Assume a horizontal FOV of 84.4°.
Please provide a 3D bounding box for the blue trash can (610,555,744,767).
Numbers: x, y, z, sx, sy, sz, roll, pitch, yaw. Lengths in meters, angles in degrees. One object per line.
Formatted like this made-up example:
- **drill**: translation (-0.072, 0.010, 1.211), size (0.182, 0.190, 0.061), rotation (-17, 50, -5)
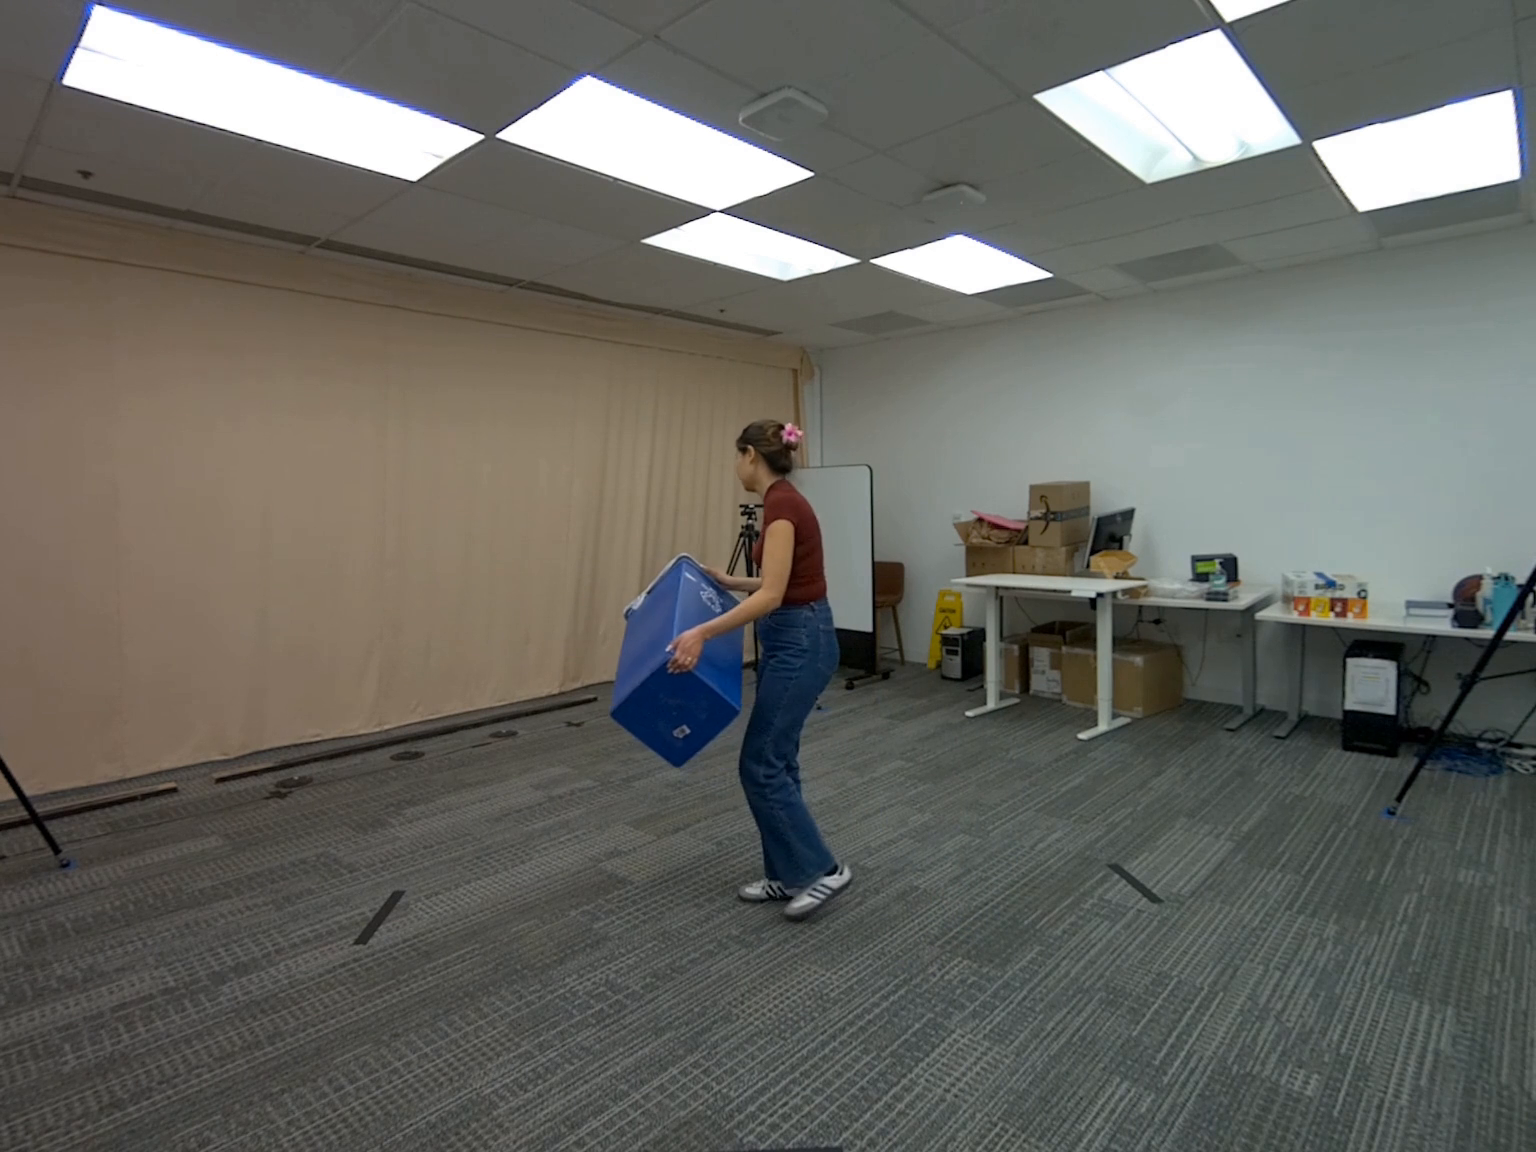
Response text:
- **blue trash can**: translation (-0.293, 0.288, 2.961), size (0.367, 0.380, 0.723), rotation (41, 16, -17)
